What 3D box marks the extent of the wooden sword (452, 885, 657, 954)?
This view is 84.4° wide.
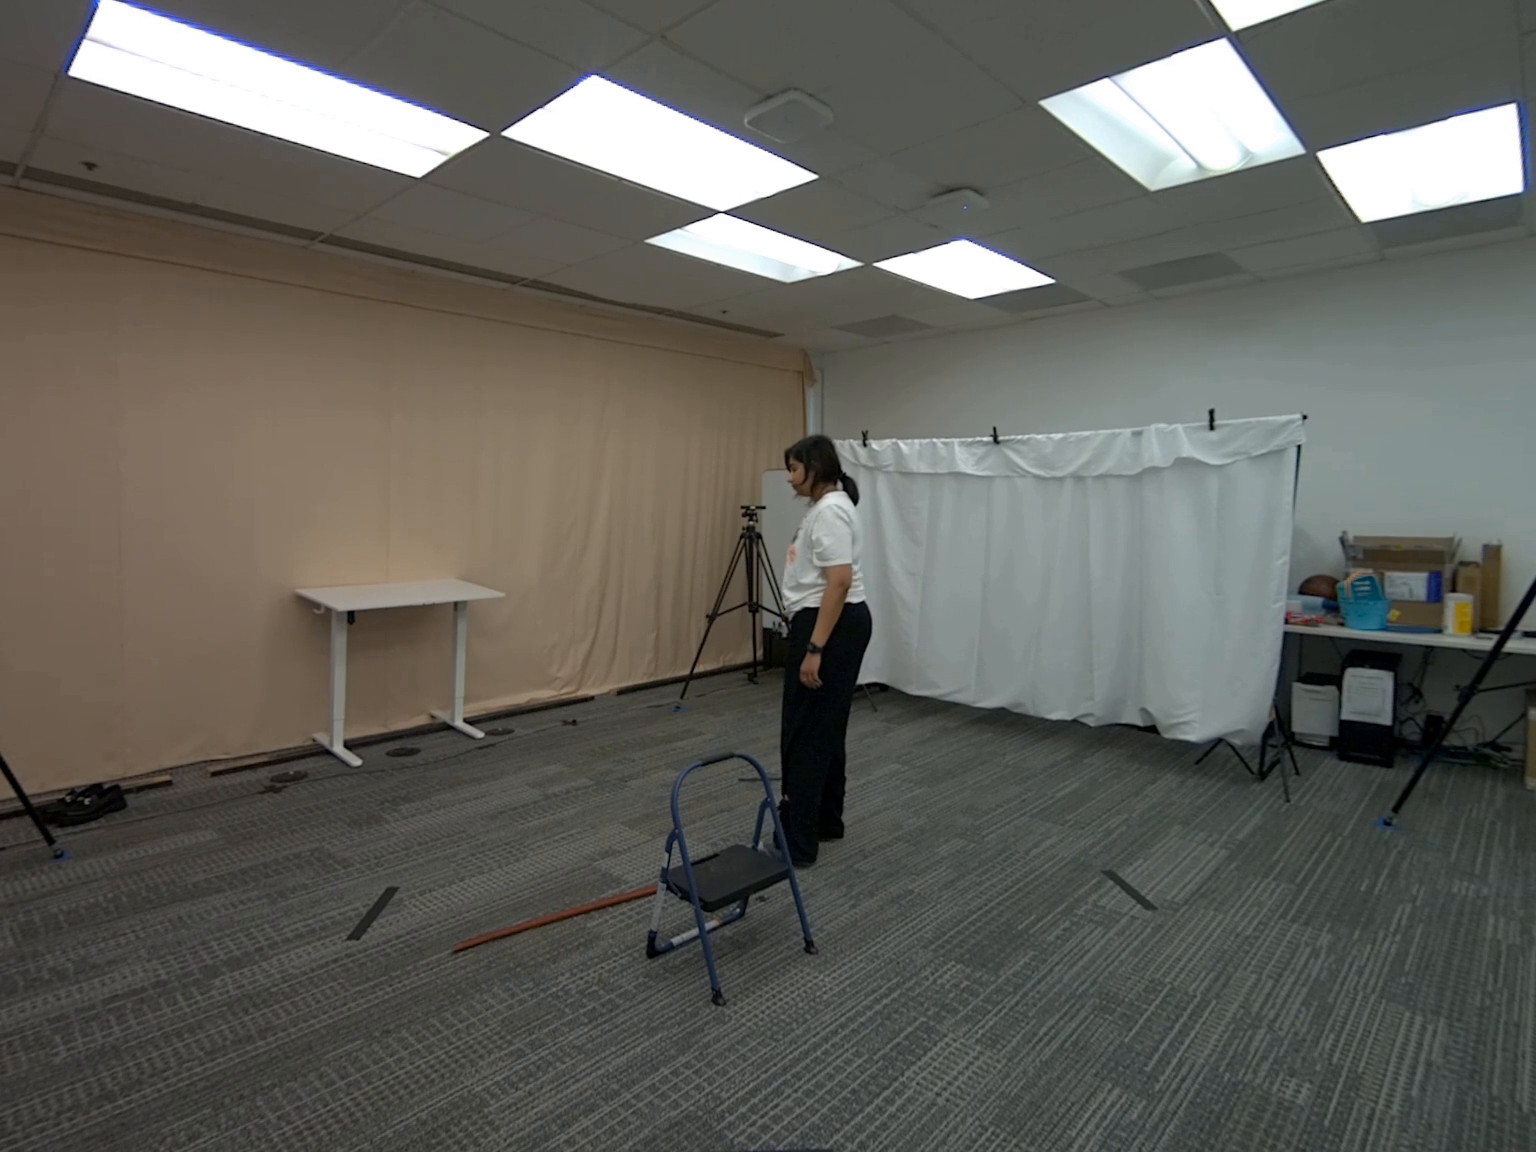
[{"bbox_3d":[-0.560,1.124,2.915,0.996,0.051,0.025,-4,30,-33],"label":"wooden sword"}]
